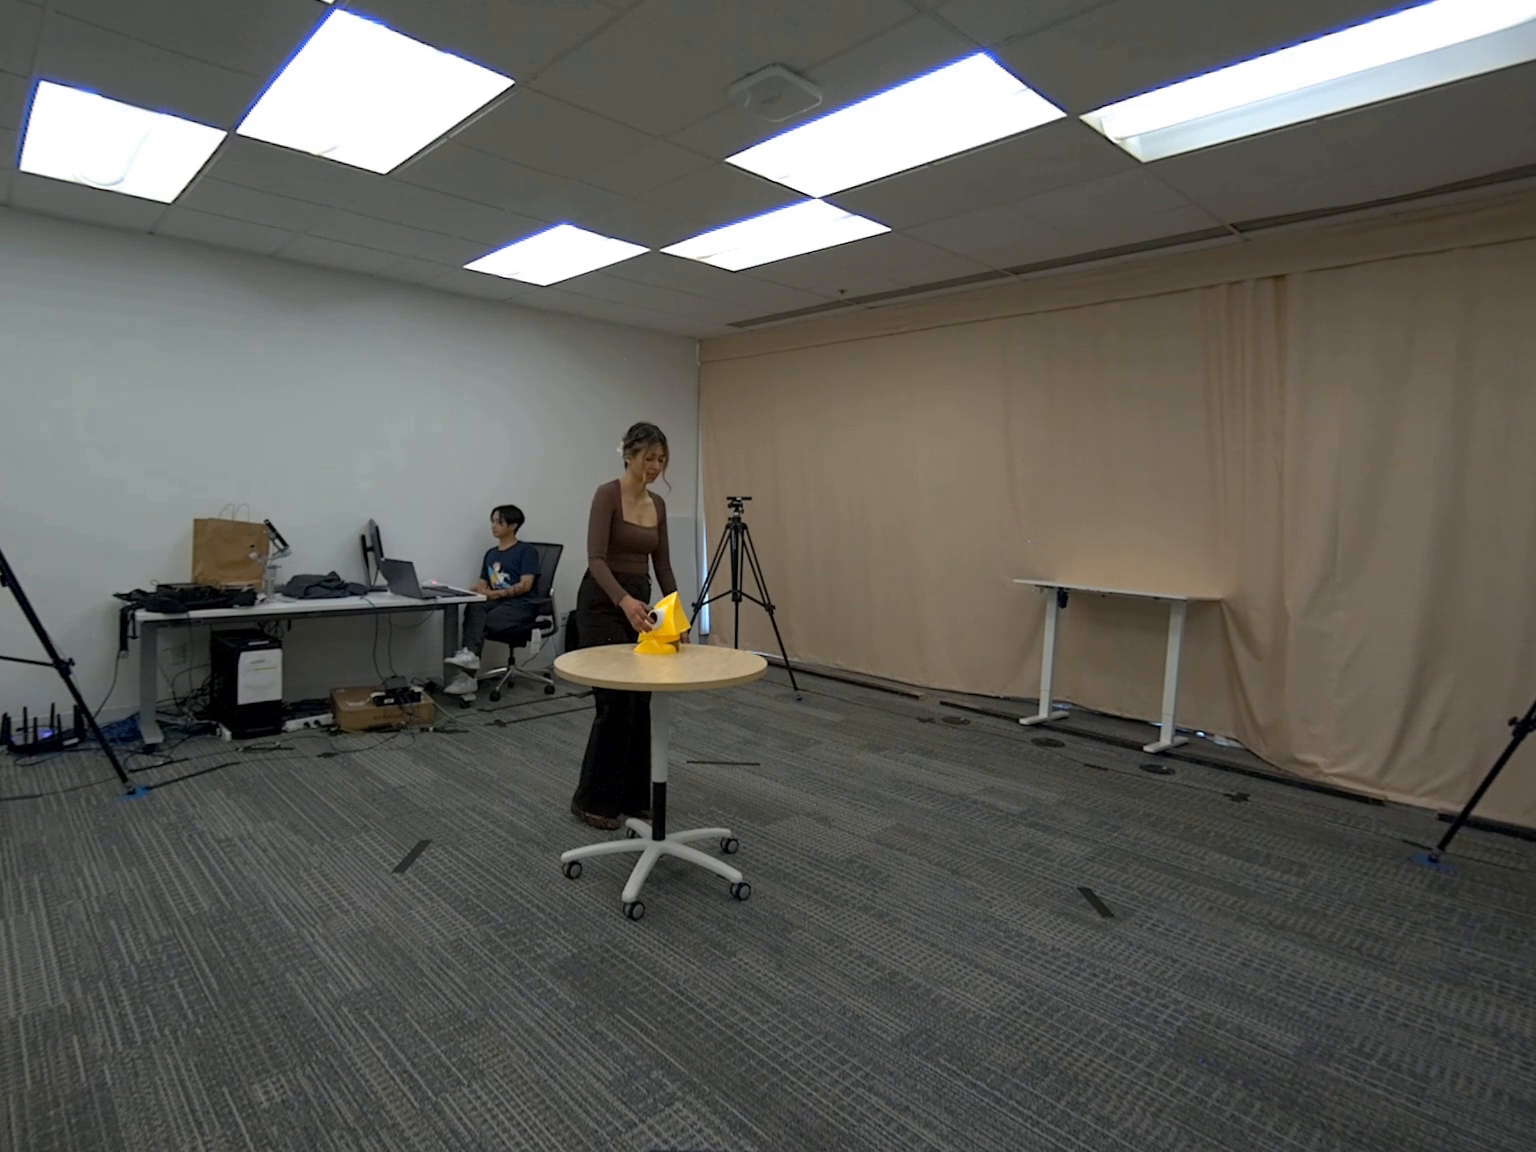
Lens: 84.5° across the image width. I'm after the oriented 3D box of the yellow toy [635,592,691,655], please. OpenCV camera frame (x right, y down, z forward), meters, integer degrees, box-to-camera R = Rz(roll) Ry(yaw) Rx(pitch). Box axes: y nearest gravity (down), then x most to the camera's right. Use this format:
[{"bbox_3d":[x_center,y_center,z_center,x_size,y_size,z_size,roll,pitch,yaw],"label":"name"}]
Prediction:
[{"bbox_3d":[-0.417,0.172,3.270,0.195,0.230,0.203,3,3,12],"label":"yellow toy"}]
